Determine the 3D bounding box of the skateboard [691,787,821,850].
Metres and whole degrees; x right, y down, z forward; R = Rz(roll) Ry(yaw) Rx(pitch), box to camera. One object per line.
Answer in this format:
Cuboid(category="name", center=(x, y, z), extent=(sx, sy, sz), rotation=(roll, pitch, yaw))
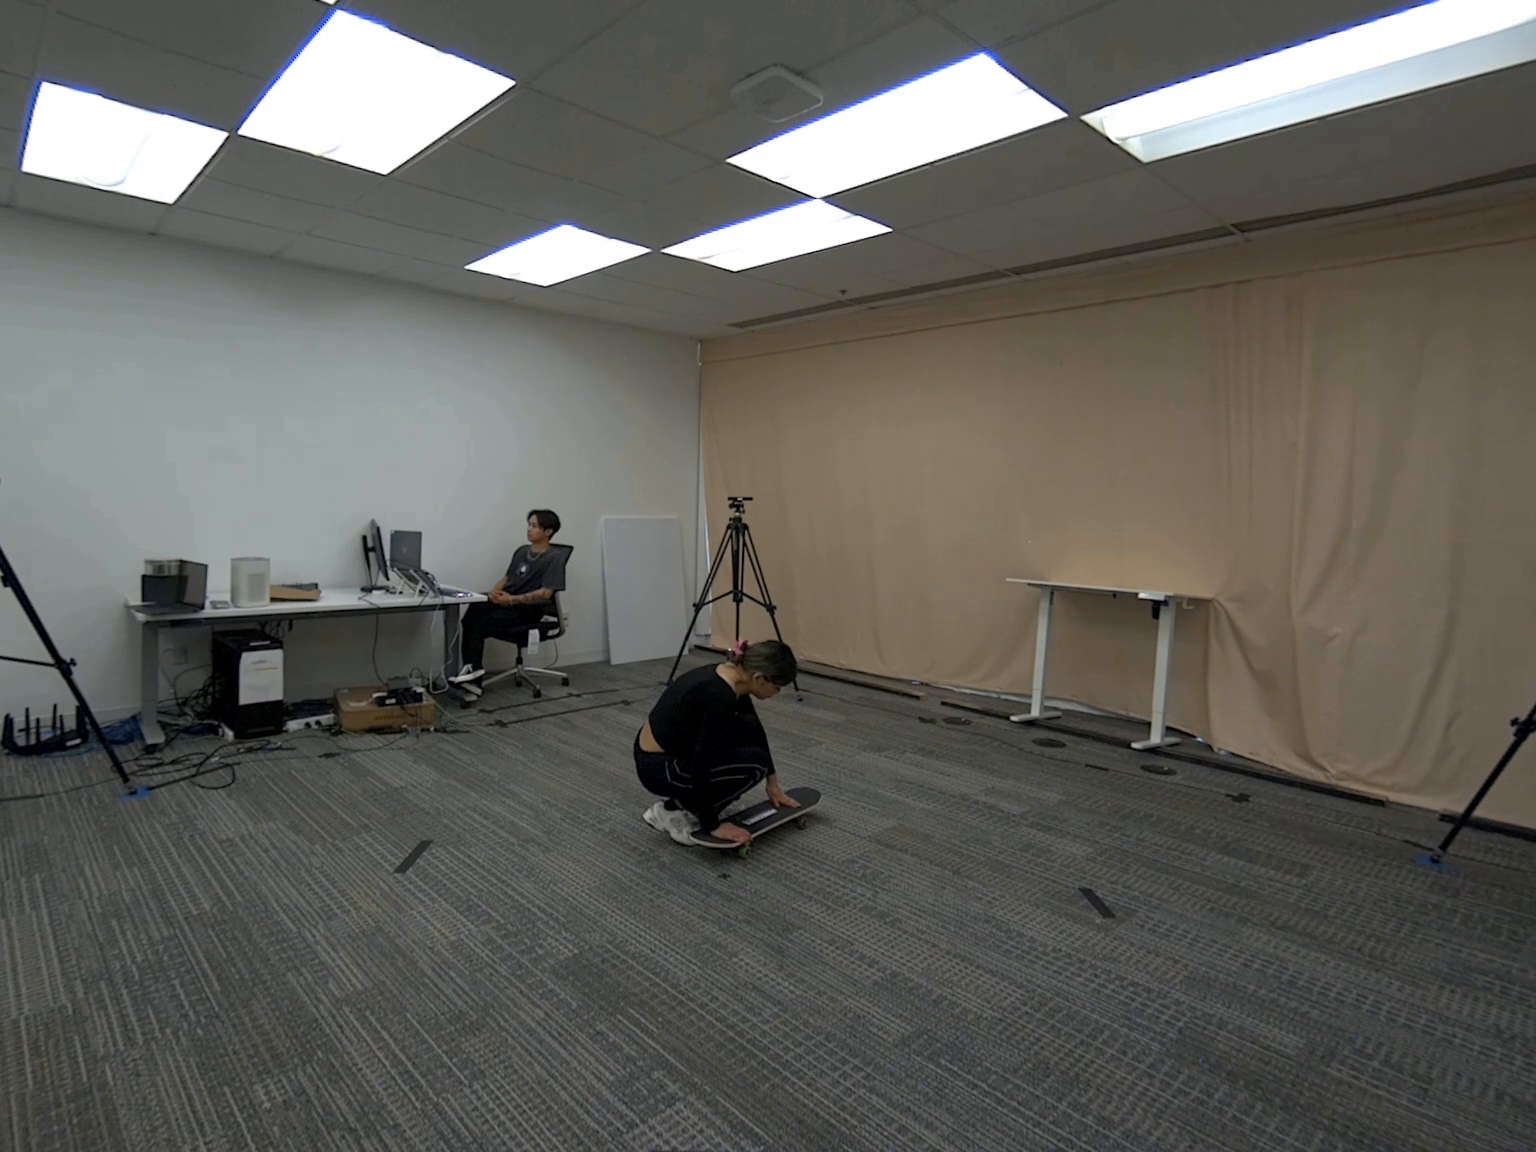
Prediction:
Cuboid(category="skateboard", center=(-0.047, 1.019, 3.463), extent=(0.198, 0.110, 0.768), rotation=(5, 6, 36))
